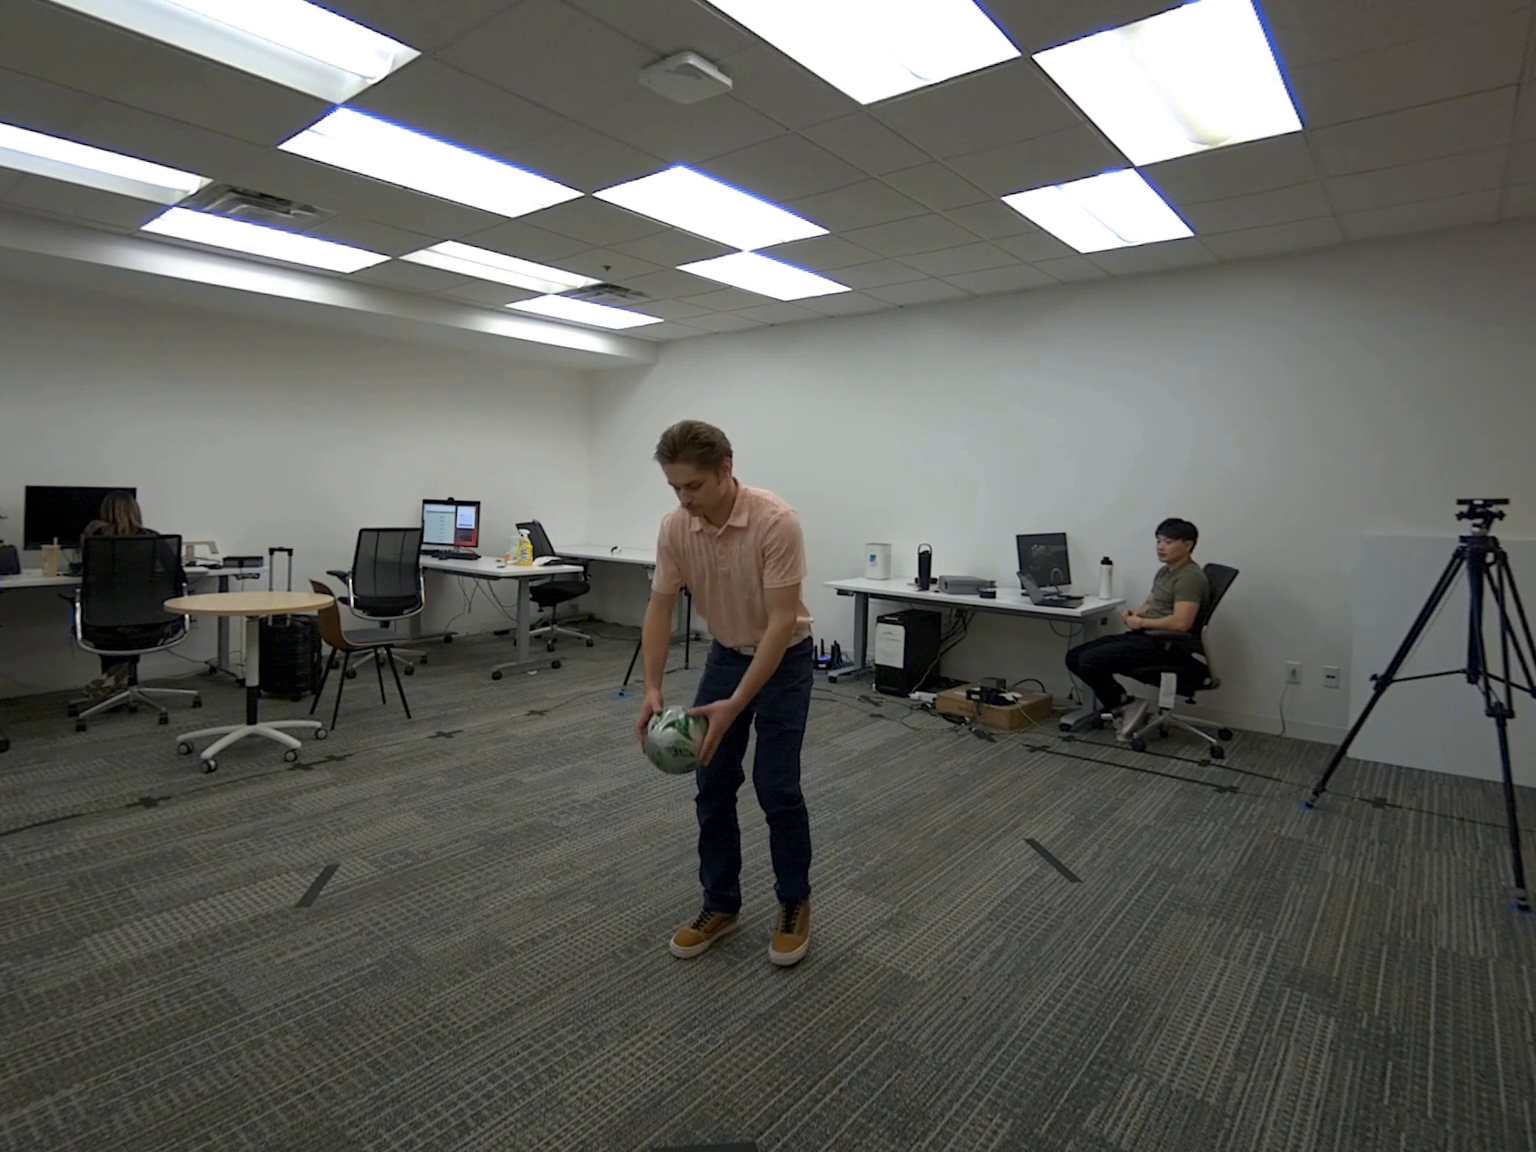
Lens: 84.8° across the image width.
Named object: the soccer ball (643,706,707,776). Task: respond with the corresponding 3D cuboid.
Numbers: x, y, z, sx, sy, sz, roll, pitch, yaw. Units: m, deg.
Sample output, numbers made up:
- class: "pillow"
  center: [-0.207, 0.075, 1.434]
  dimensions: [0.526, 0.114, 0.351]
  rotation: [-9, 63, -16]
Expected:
- class: "soccer ball"
  center: [-0.240, 0.445, 2.359]
  dimensions: [0.187, 0.187, 0.188]
  rotation: [1, 4, -2]
